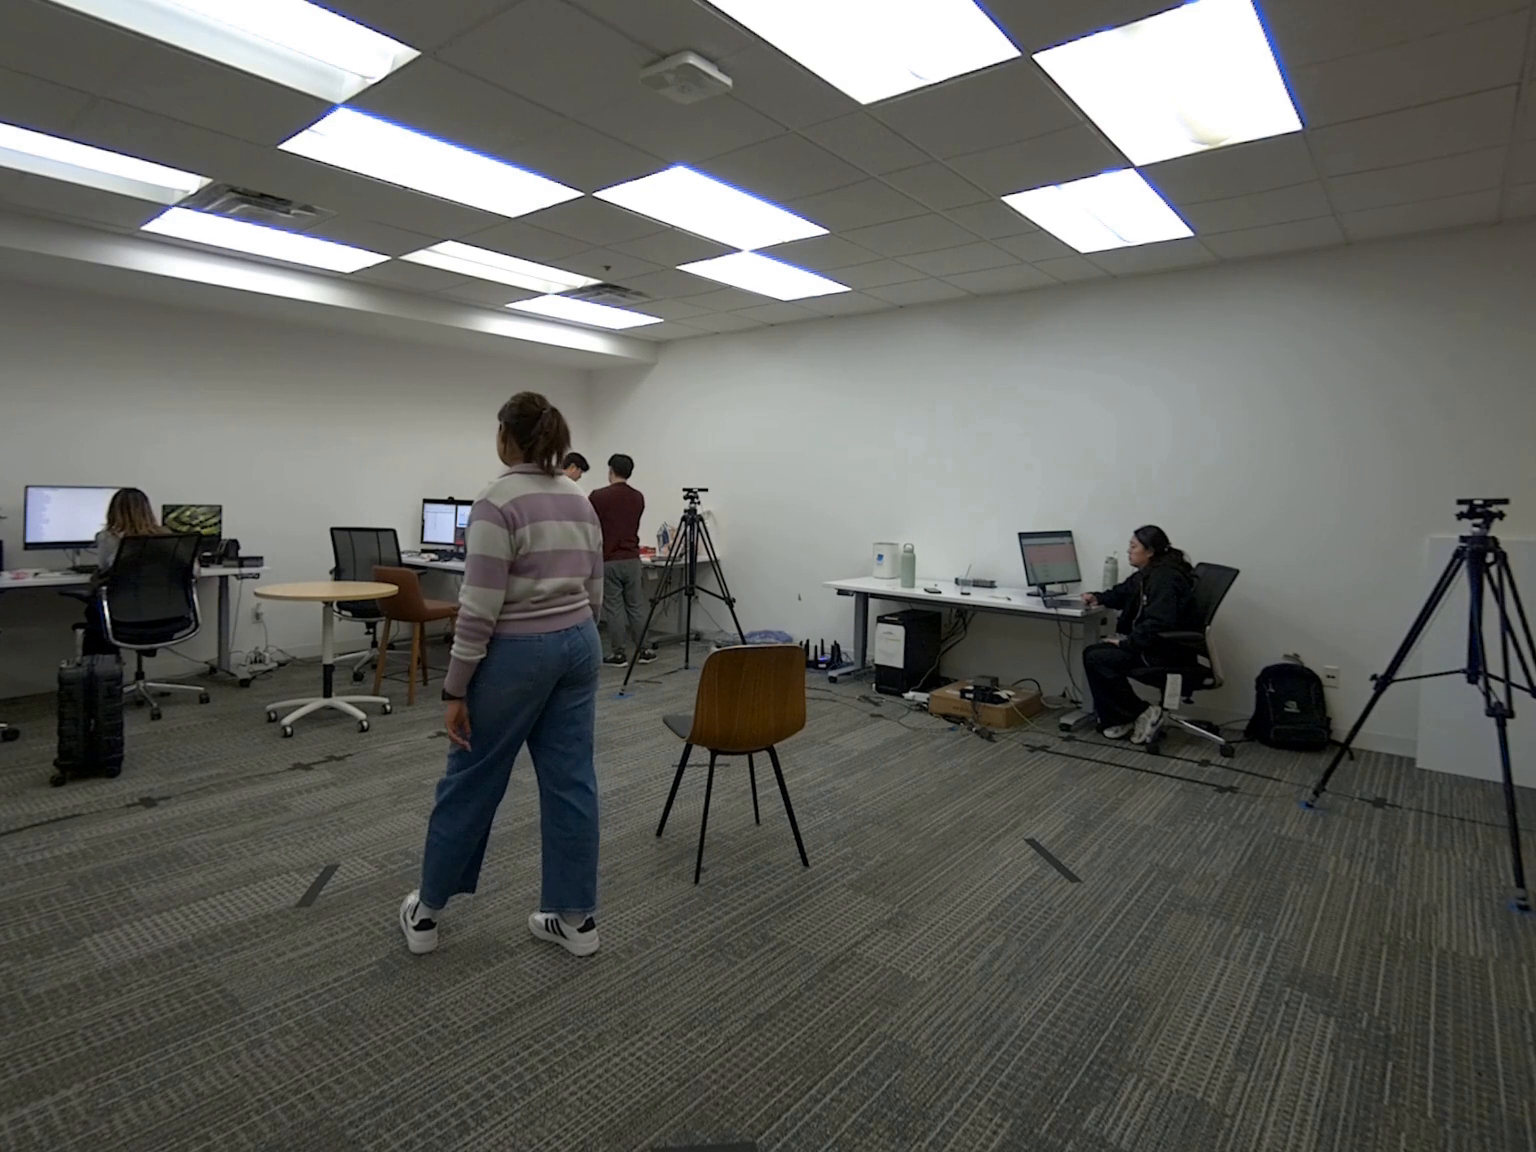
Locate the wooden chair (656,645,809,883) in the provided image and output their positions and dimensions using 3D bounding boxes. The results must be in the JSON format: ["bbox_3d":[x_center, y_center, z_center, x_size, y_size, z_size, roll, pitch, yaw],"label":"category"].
[{"bbox_3d":[-0.153,0.628,3.254,0.467,0.872,0.538,0,8,-24],"label":"wooden chair"}]
